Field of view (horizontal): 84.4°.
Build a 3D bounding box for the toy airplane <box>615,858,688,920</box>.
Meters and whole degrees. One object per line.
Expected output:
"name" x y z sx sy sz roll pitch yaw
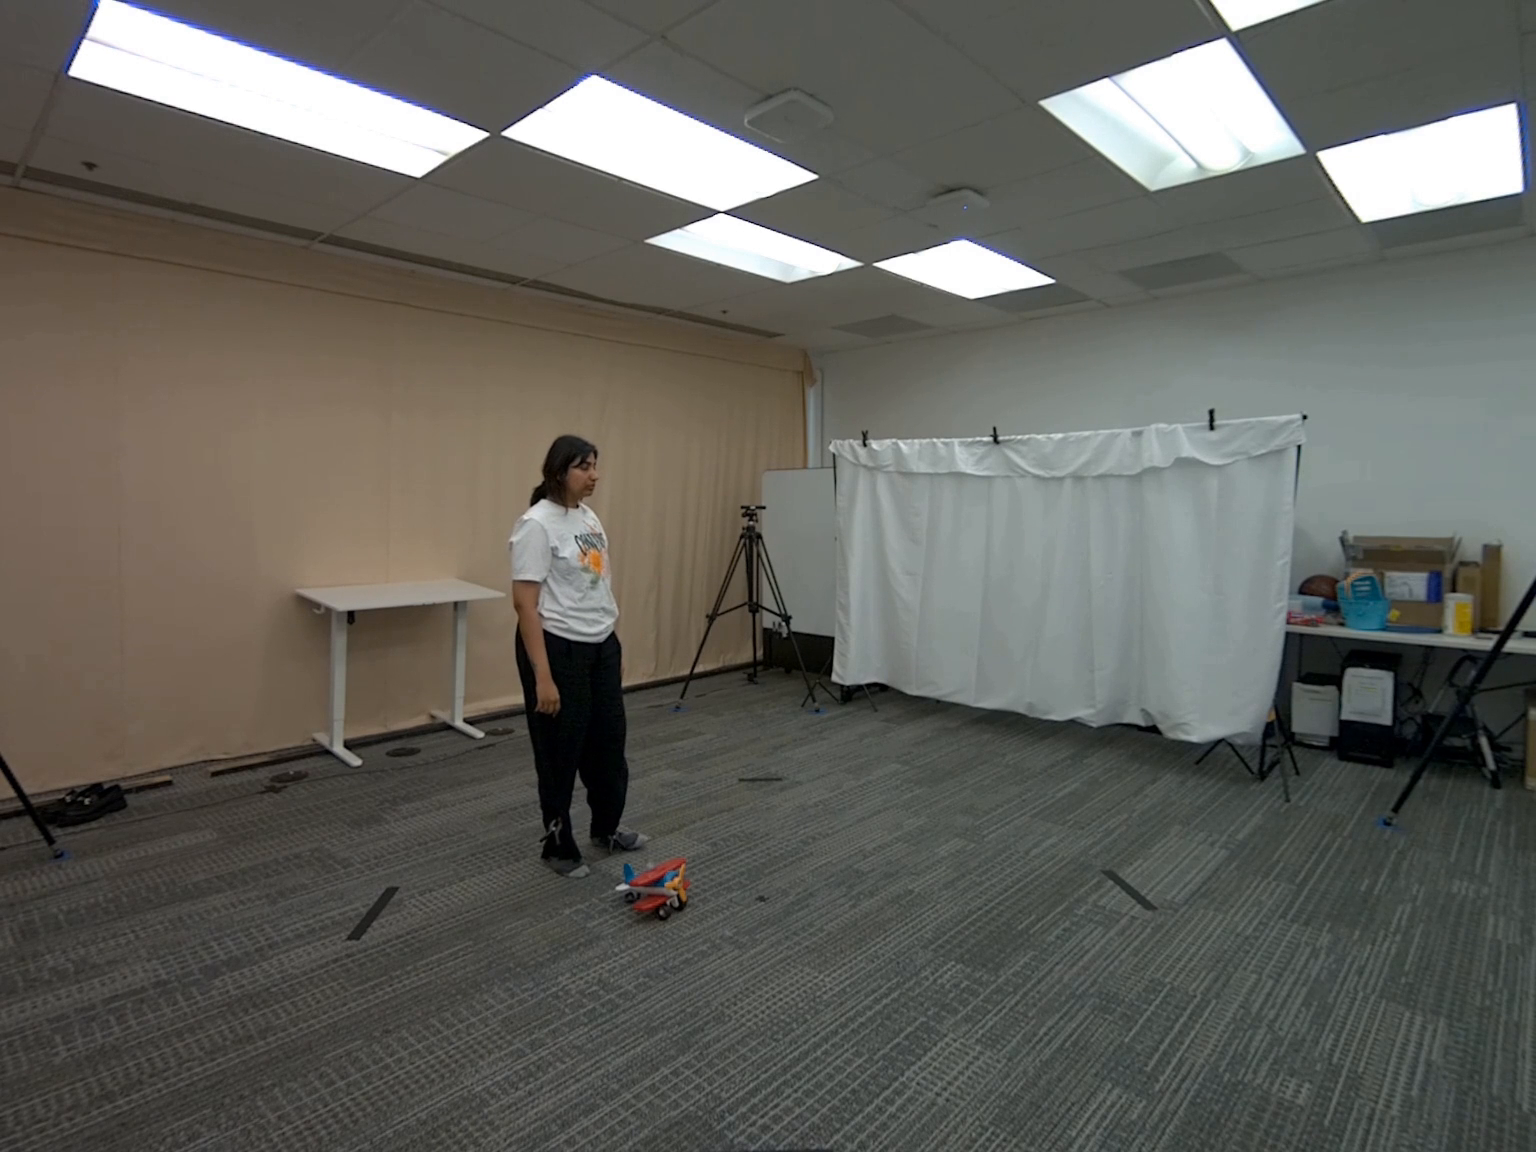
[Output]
"toy airplane" -0.407 1.076 2.898 0.261 0.156 0.249 1 5 7
